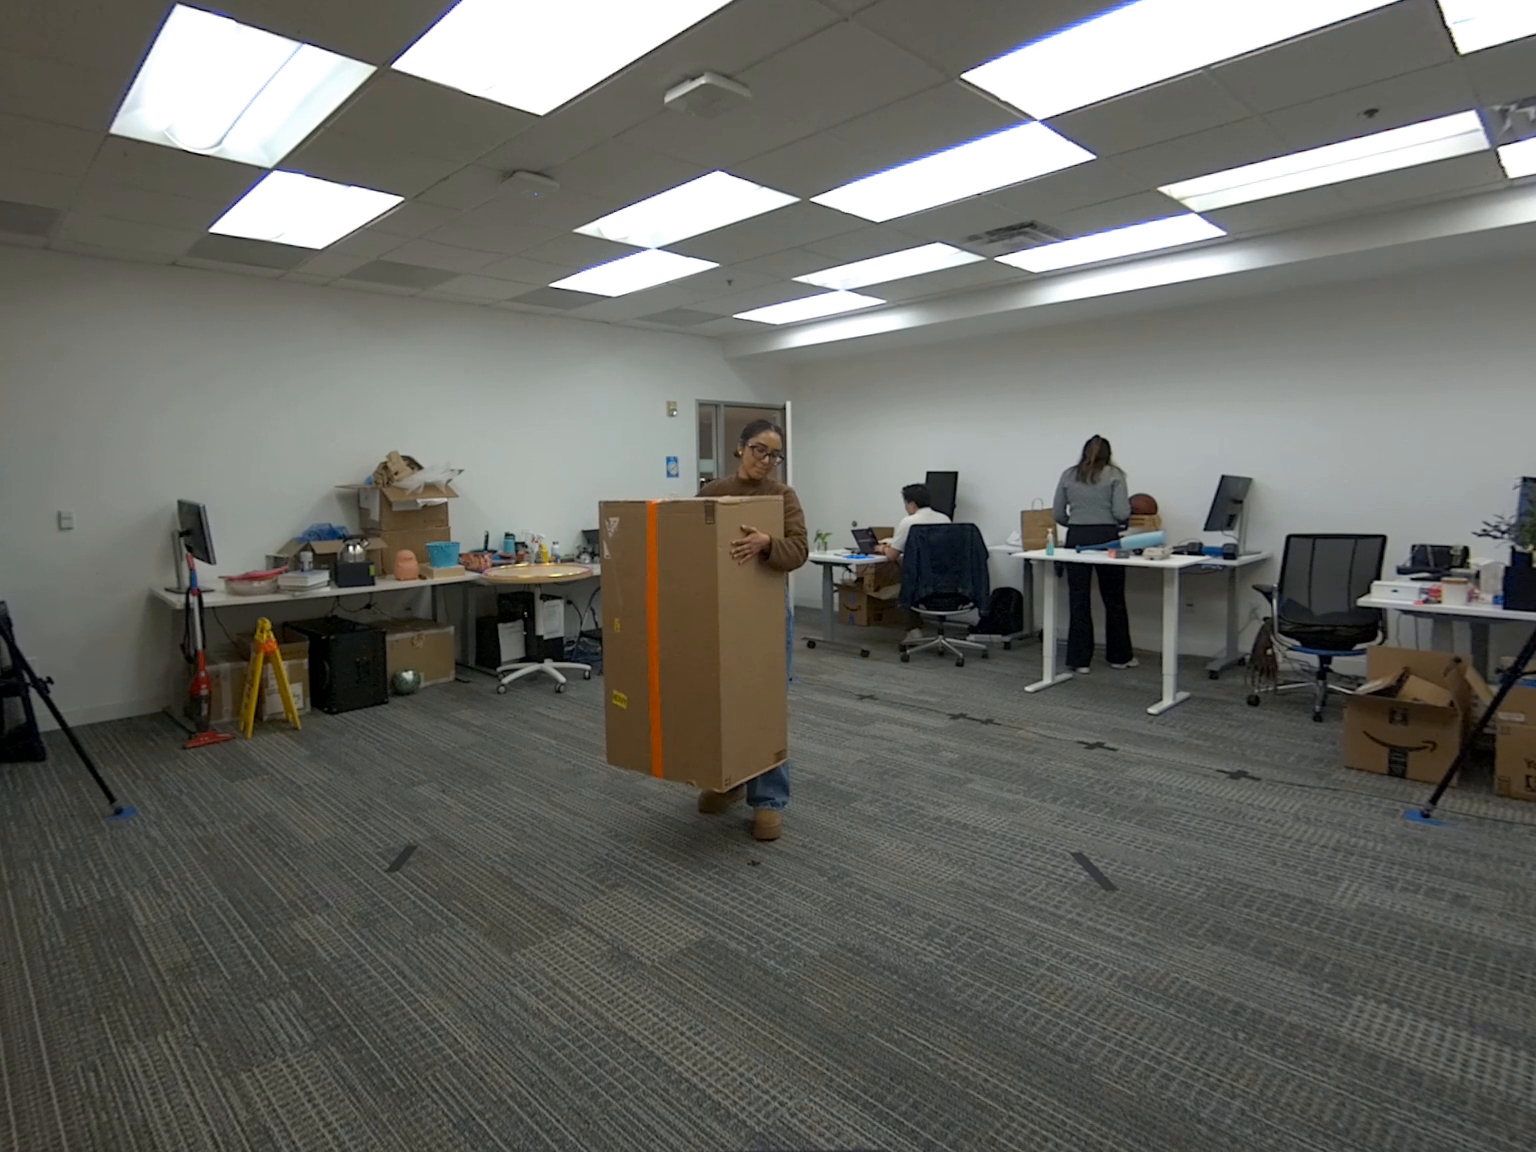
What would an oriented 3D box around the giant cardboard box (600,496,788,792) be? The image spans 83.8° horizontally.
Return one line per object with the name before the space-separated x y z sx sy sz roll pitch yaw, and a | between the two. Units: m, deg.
giant cardboard box | -0.294 0.214 3.268 0.594 1.022 0.415 2 5 36
